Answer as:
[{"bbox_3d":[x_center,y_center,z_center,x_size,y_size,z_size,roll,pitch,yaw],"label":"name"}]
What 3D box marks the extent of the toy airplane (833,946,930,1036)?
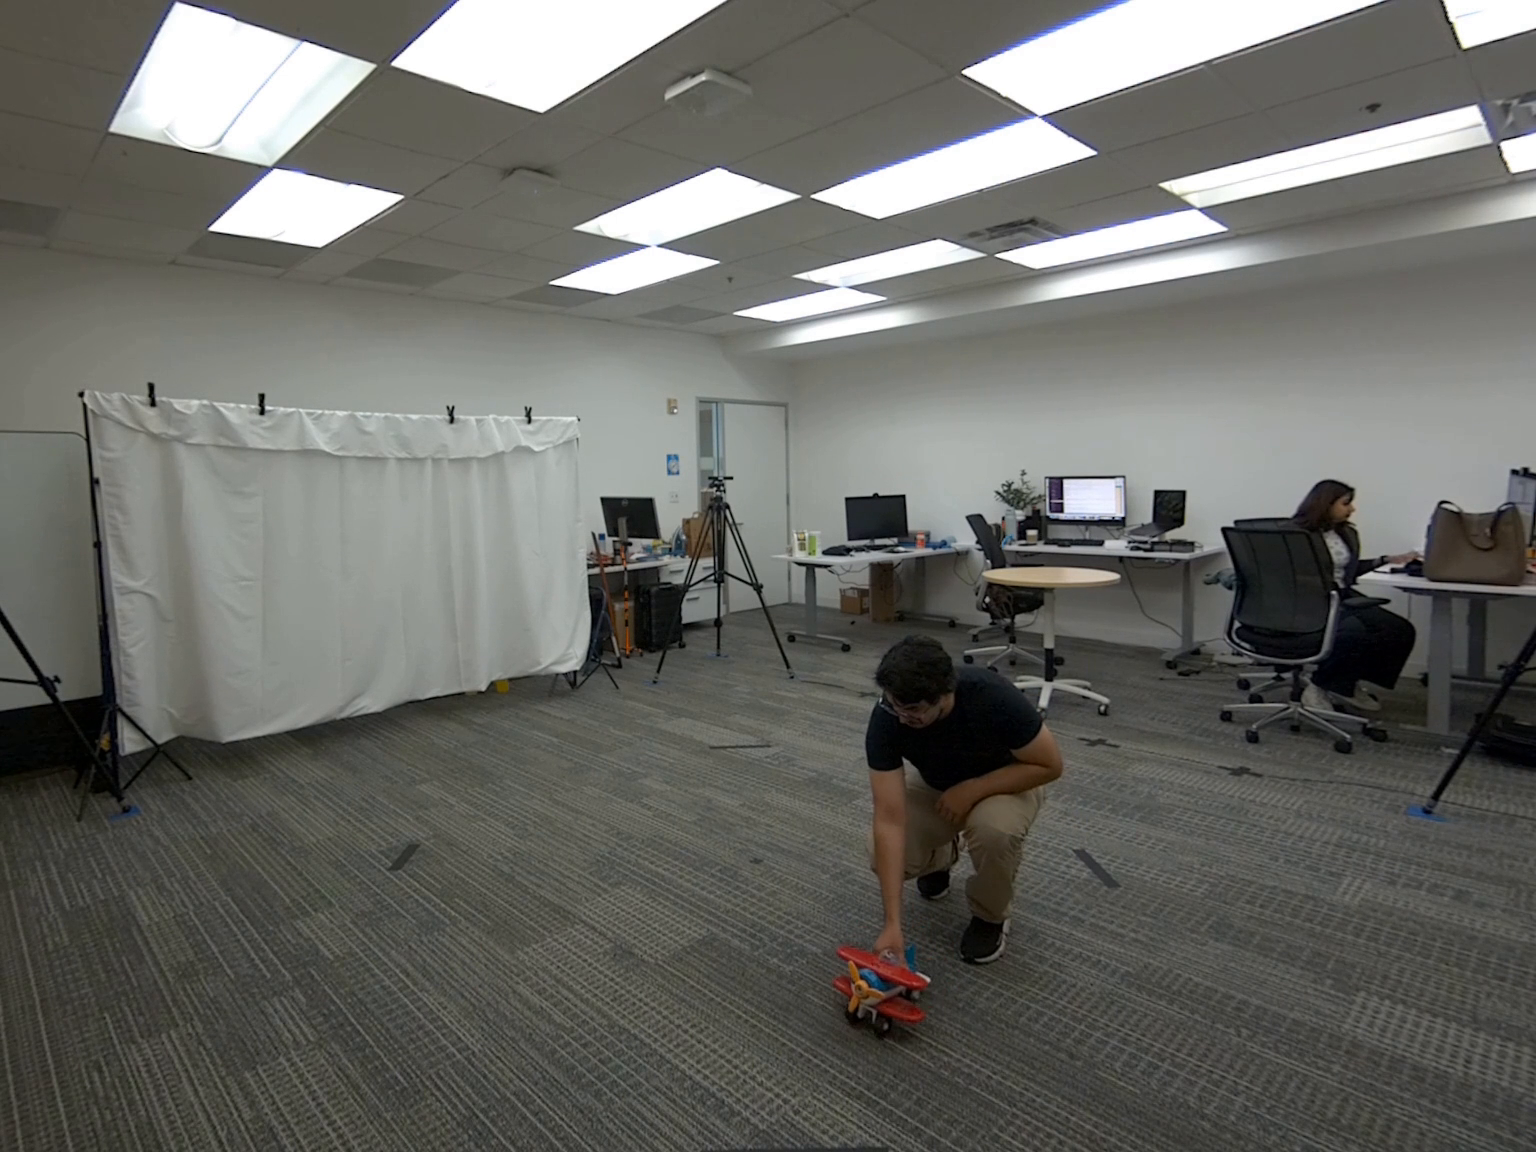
[{"bbox_3d":[0.301,1.063,2.223,0.254,0.156,0.257,0,6,12],"label":"toy airplane"}]
